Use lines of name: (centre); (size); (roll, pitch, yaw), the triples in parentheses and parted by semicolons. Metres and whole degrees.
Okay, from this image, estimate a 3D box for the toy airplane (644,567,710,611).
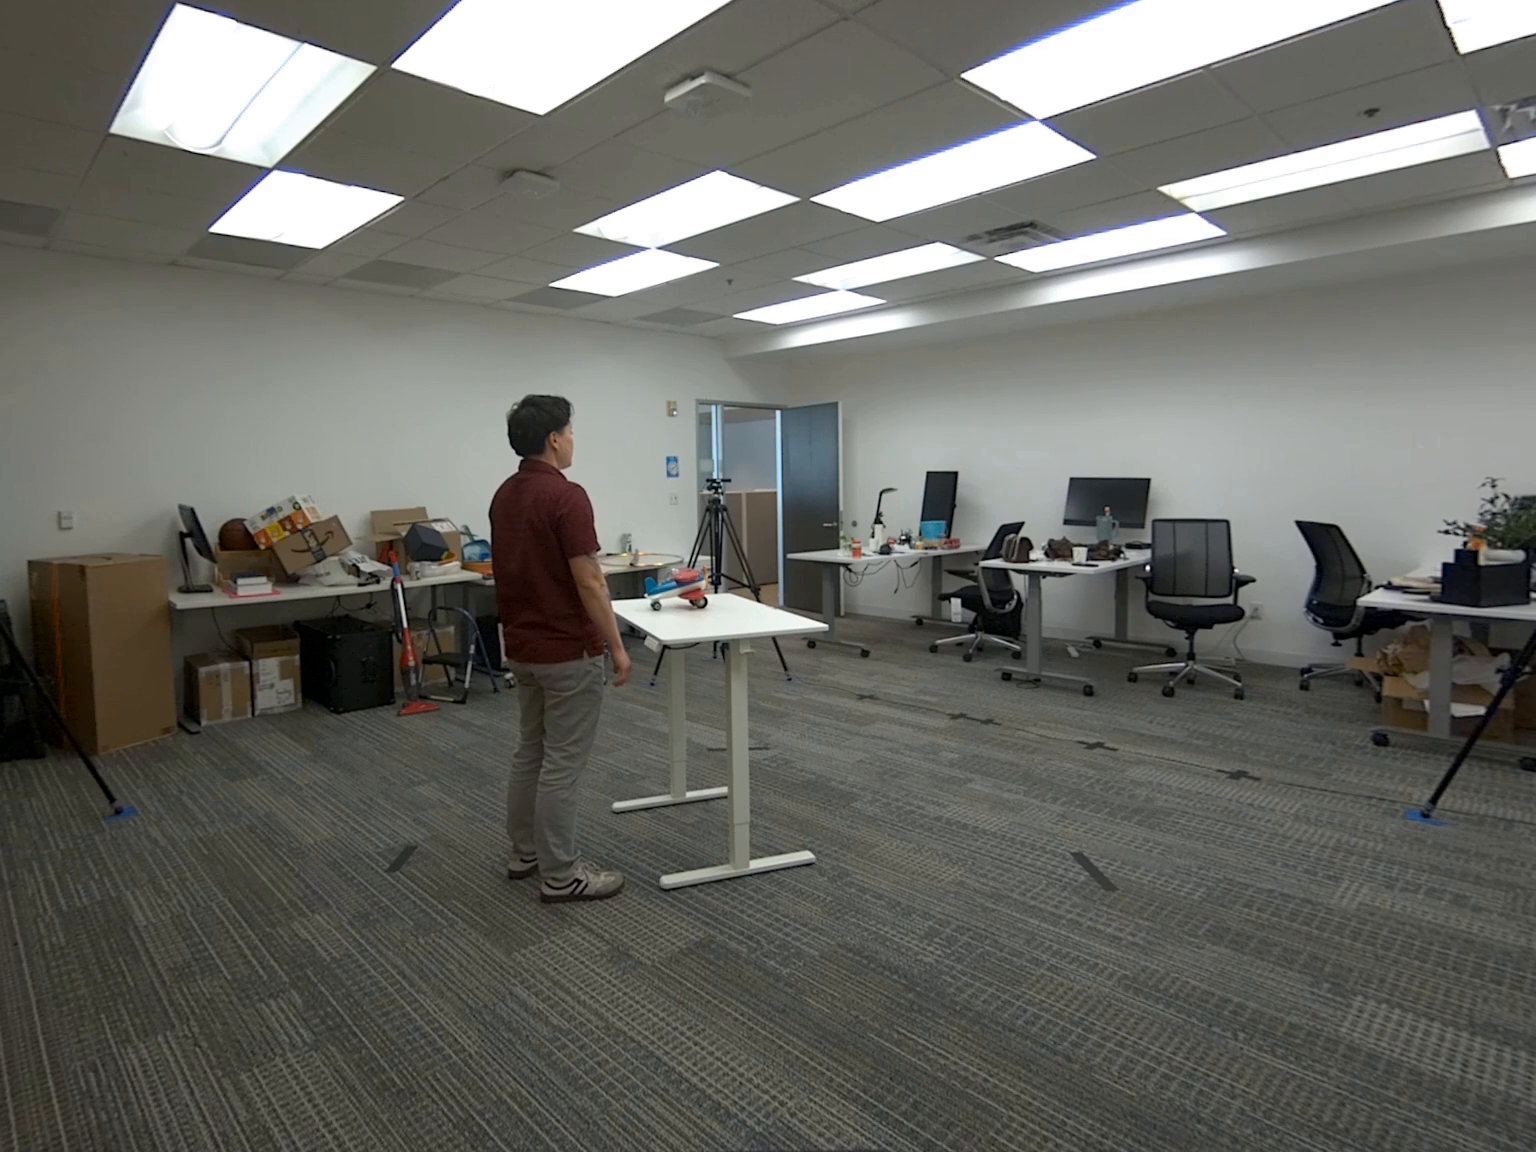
toy airplane: (-0.354, 0.055, 3.430); (0.259, 0.156, 0.252); (4, 7, 44)
